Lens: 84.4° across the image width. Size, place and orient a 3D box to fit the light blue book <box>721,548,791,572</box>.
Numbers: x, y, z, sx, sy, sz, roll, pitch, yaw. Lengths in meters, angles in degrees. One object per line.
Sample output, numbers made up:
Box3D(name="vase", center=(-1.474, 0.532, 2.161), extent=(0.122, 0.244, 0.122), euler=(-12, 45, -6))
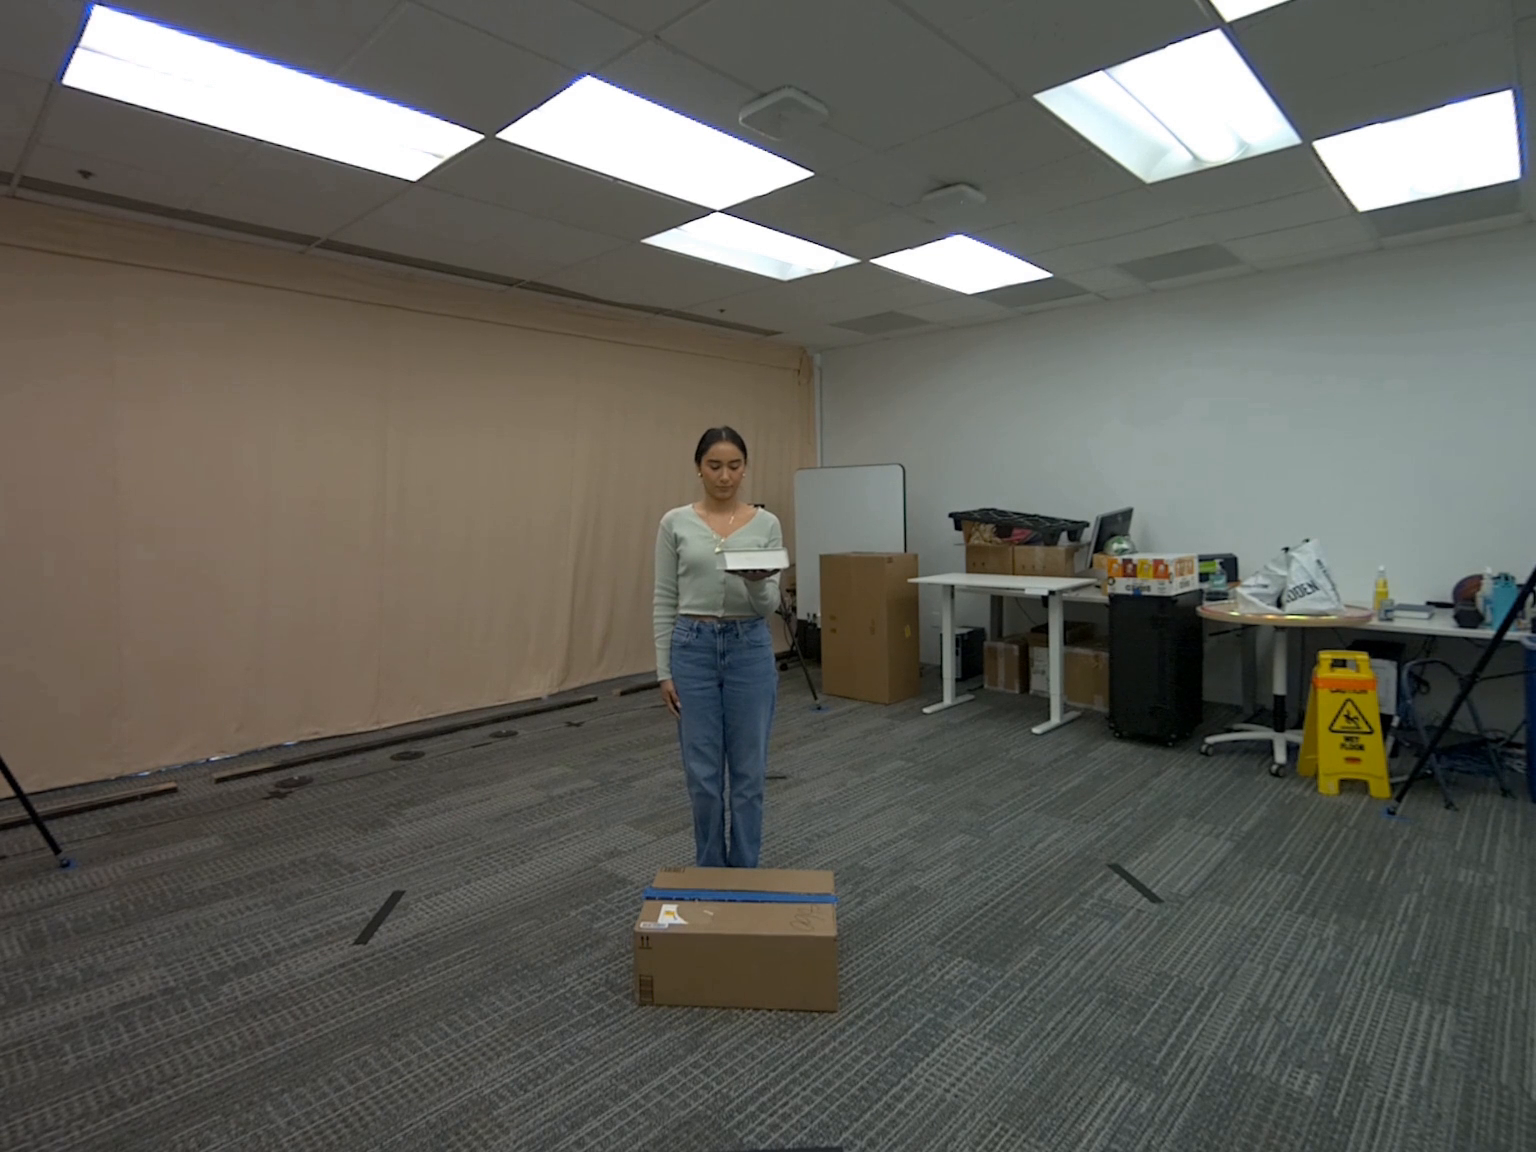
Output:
Box3D(name="light blue book", center=(-0.042, -0.047, 2.566), extent=(0.190, 0.059, 0.263), euler=(-1, 0, -9))
